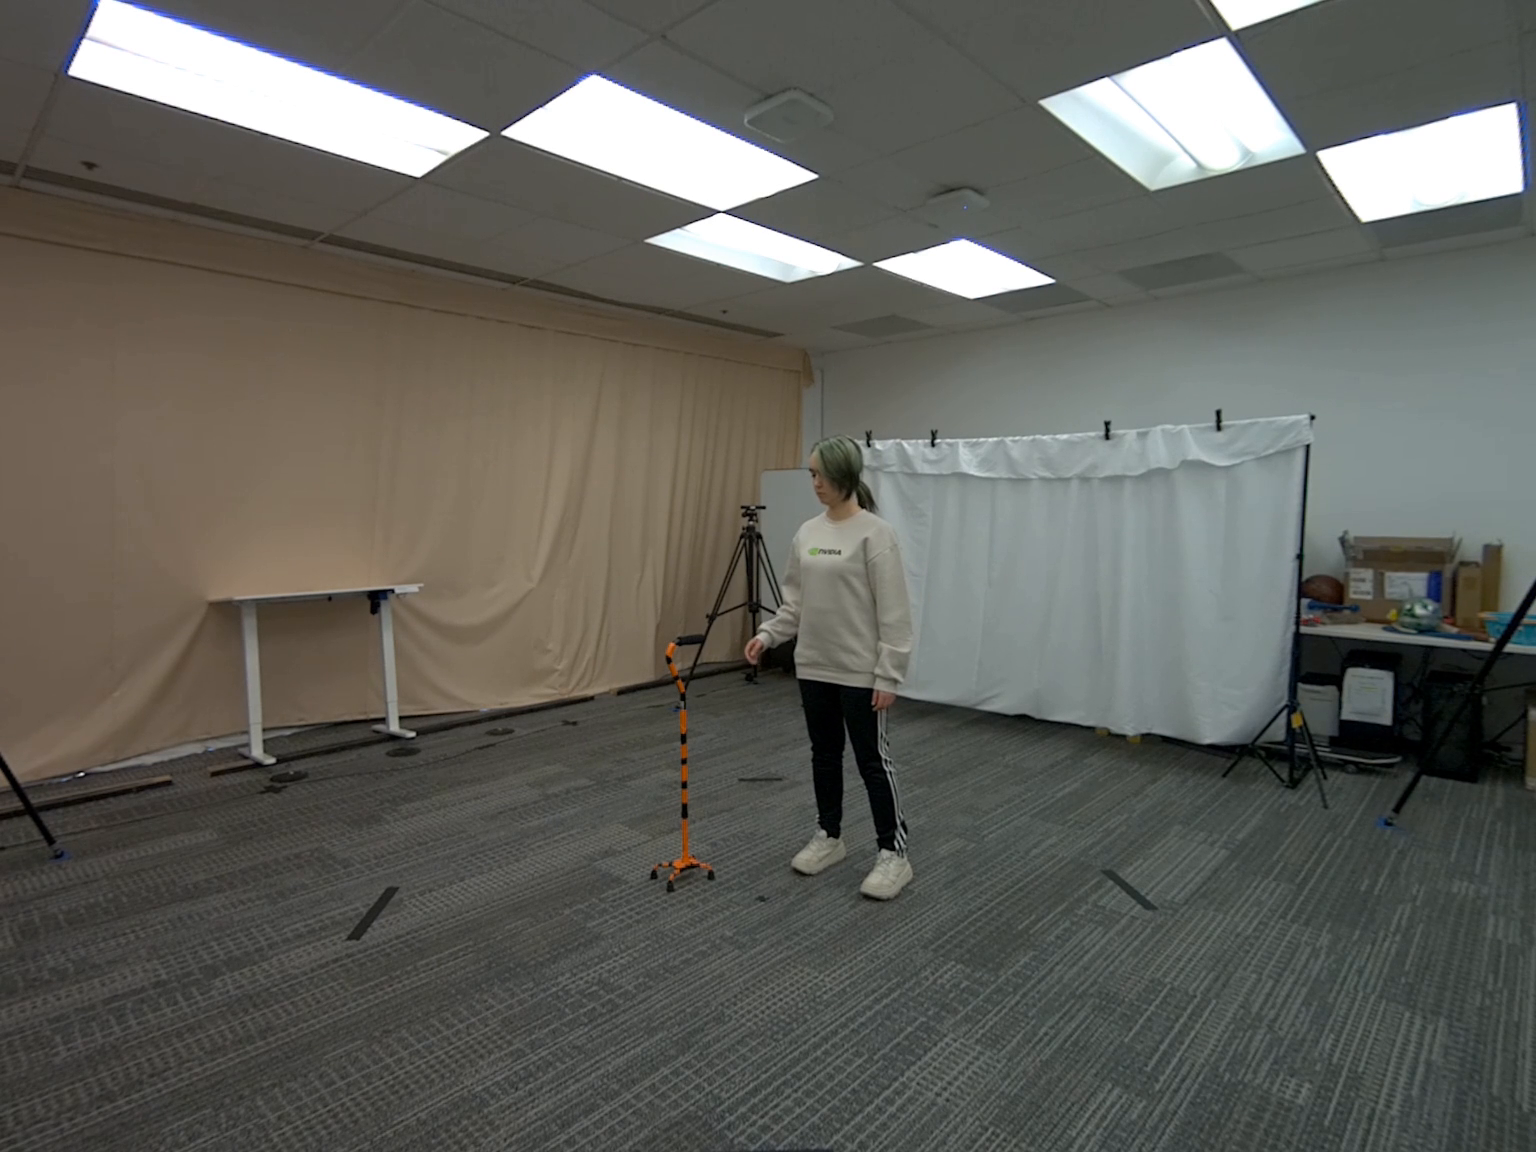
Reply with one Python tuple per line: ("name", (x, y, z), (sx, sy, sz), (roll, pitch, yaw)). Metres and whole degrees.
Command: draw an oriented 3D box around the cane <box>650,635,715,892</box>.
("cane", (-0.320, 0.680, 3.129), (0.200, 0.906, 0.156), (-2, 3, -36))
